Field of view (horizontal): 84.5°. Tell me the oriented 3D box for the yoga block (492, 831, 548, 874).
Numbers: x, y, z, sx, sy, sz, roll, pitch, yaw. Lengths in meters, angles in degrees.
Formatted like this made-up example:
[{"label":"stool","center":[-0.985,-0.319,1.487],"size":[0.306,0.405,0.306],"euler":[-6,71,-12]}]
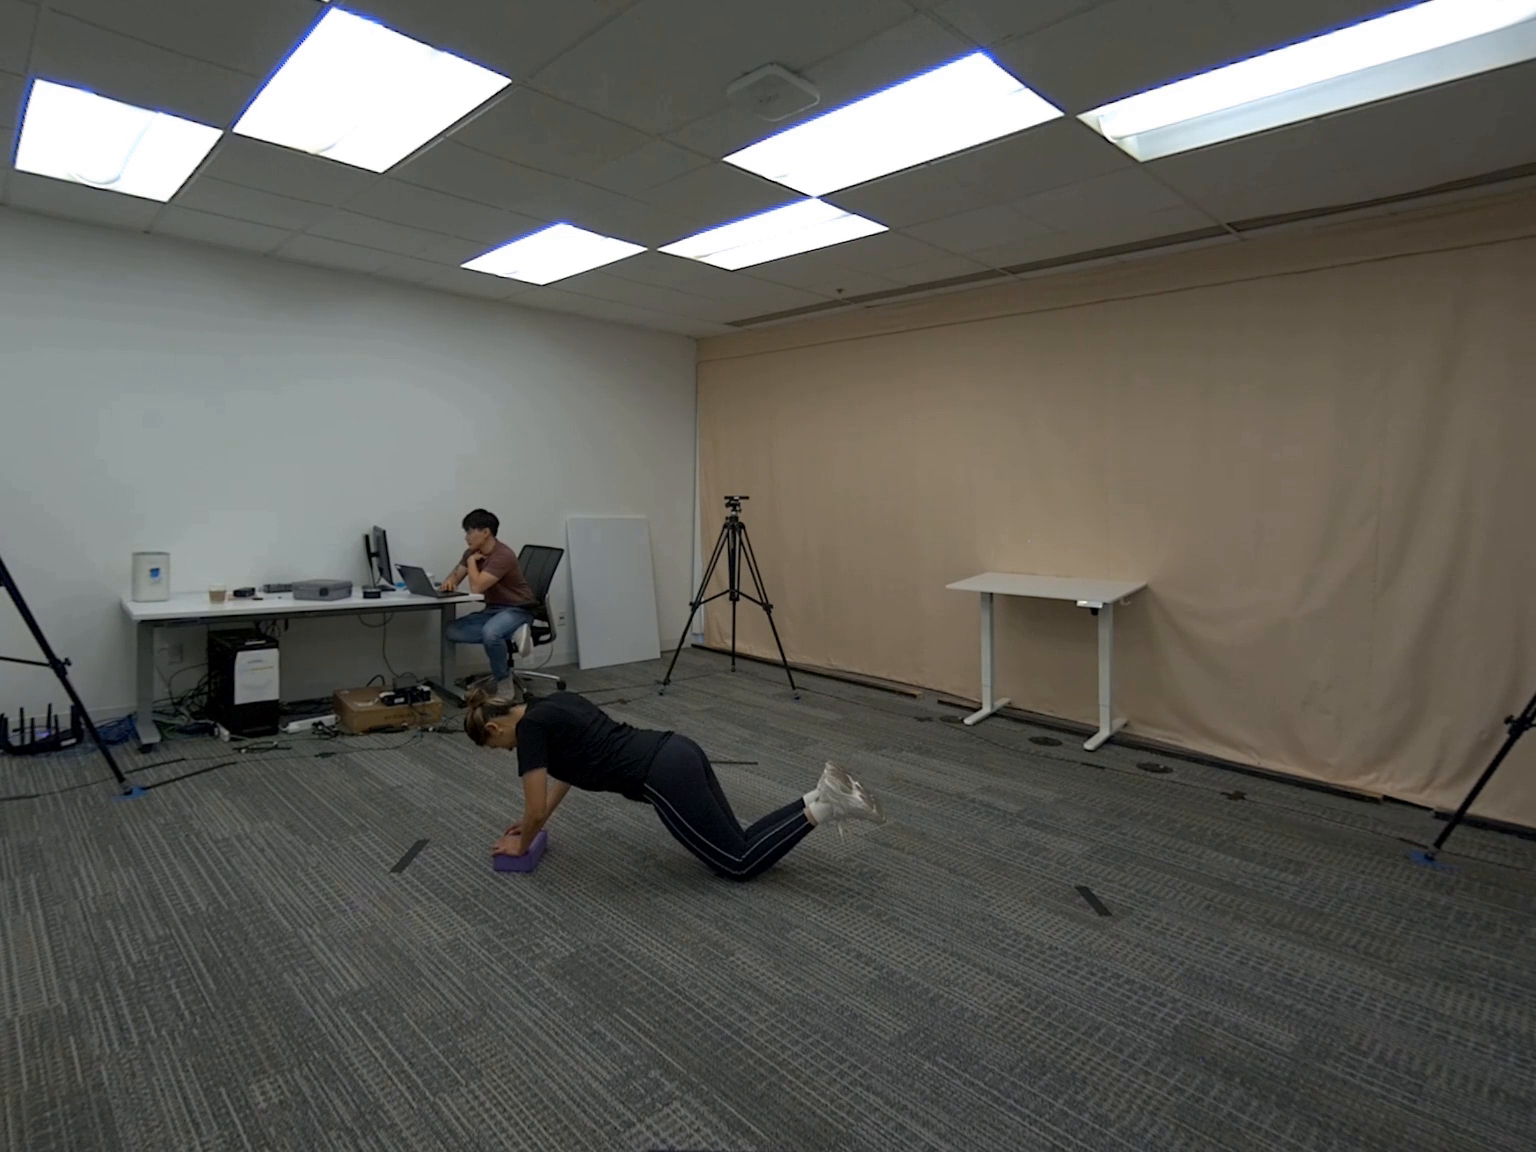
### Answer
[{"label":"yoga block","center":[-0.936,1.027,3.201],"size":[0.149,0.076,0.230],"euler":[-3,5,1]}]
